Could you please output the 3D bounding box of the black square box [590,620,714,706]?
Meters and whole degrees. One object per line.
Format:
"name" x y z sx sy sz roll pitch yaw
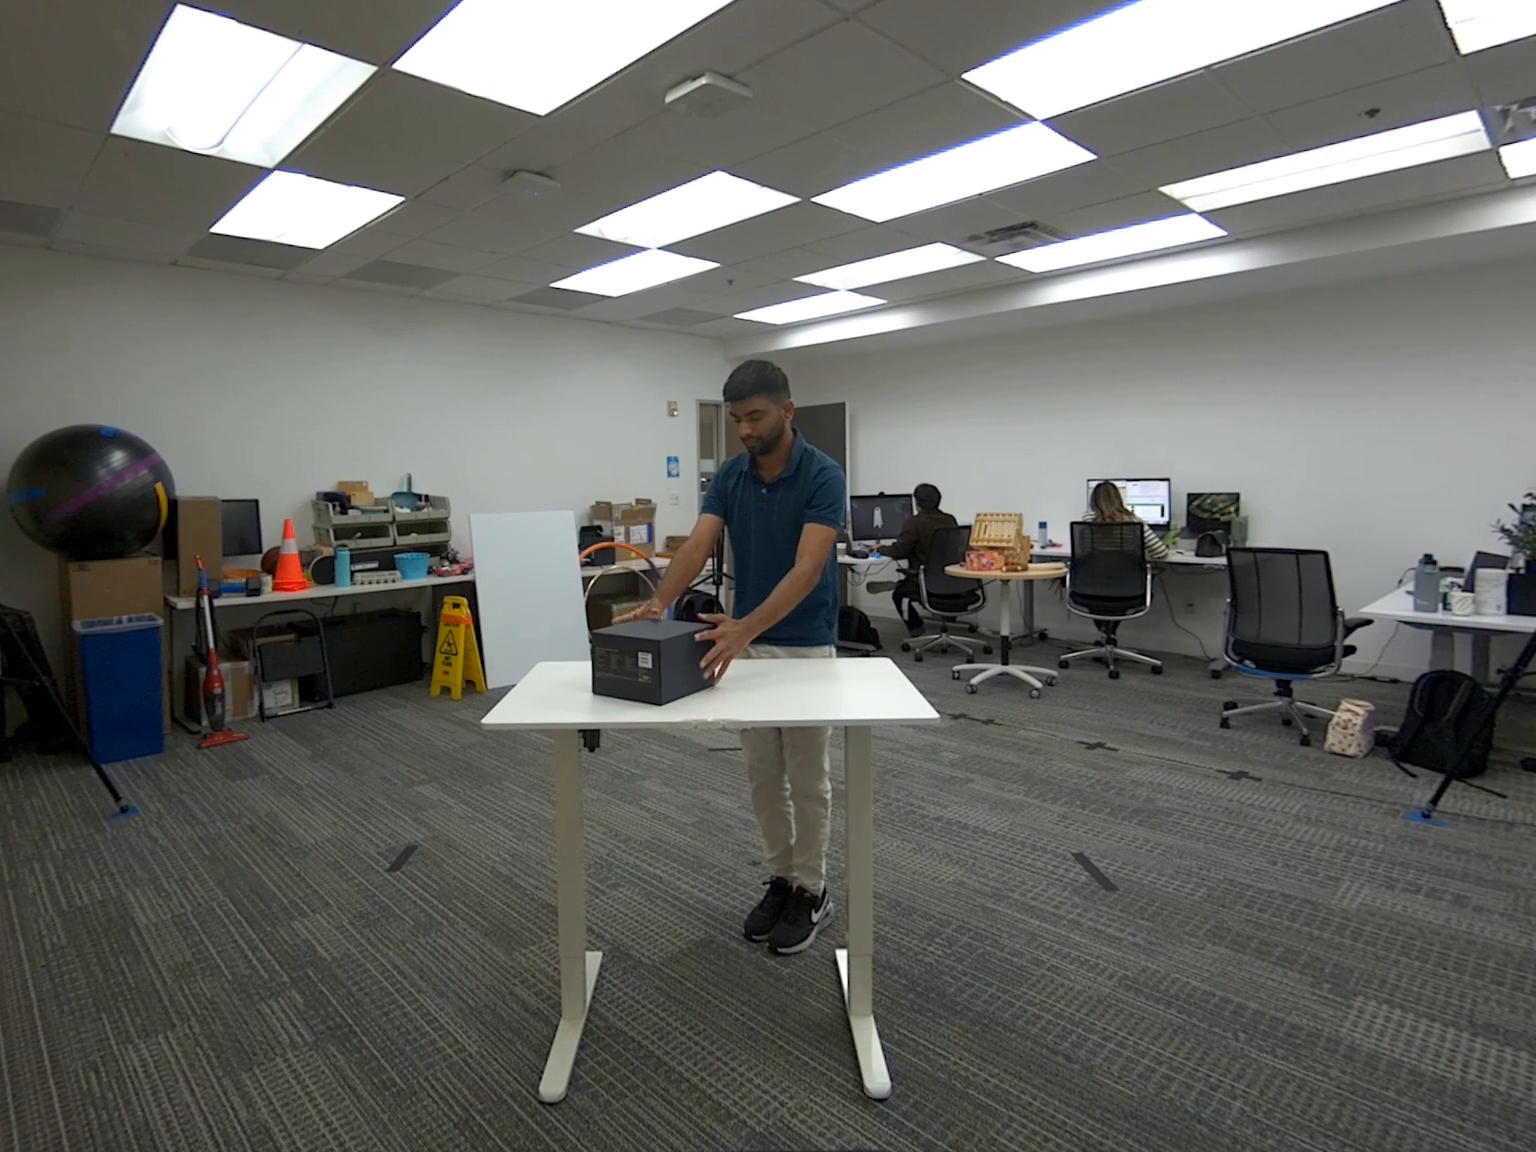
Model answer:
"black square box" -0.287 0.205 2.112 0.223 0.155 0.223 2 7 31
